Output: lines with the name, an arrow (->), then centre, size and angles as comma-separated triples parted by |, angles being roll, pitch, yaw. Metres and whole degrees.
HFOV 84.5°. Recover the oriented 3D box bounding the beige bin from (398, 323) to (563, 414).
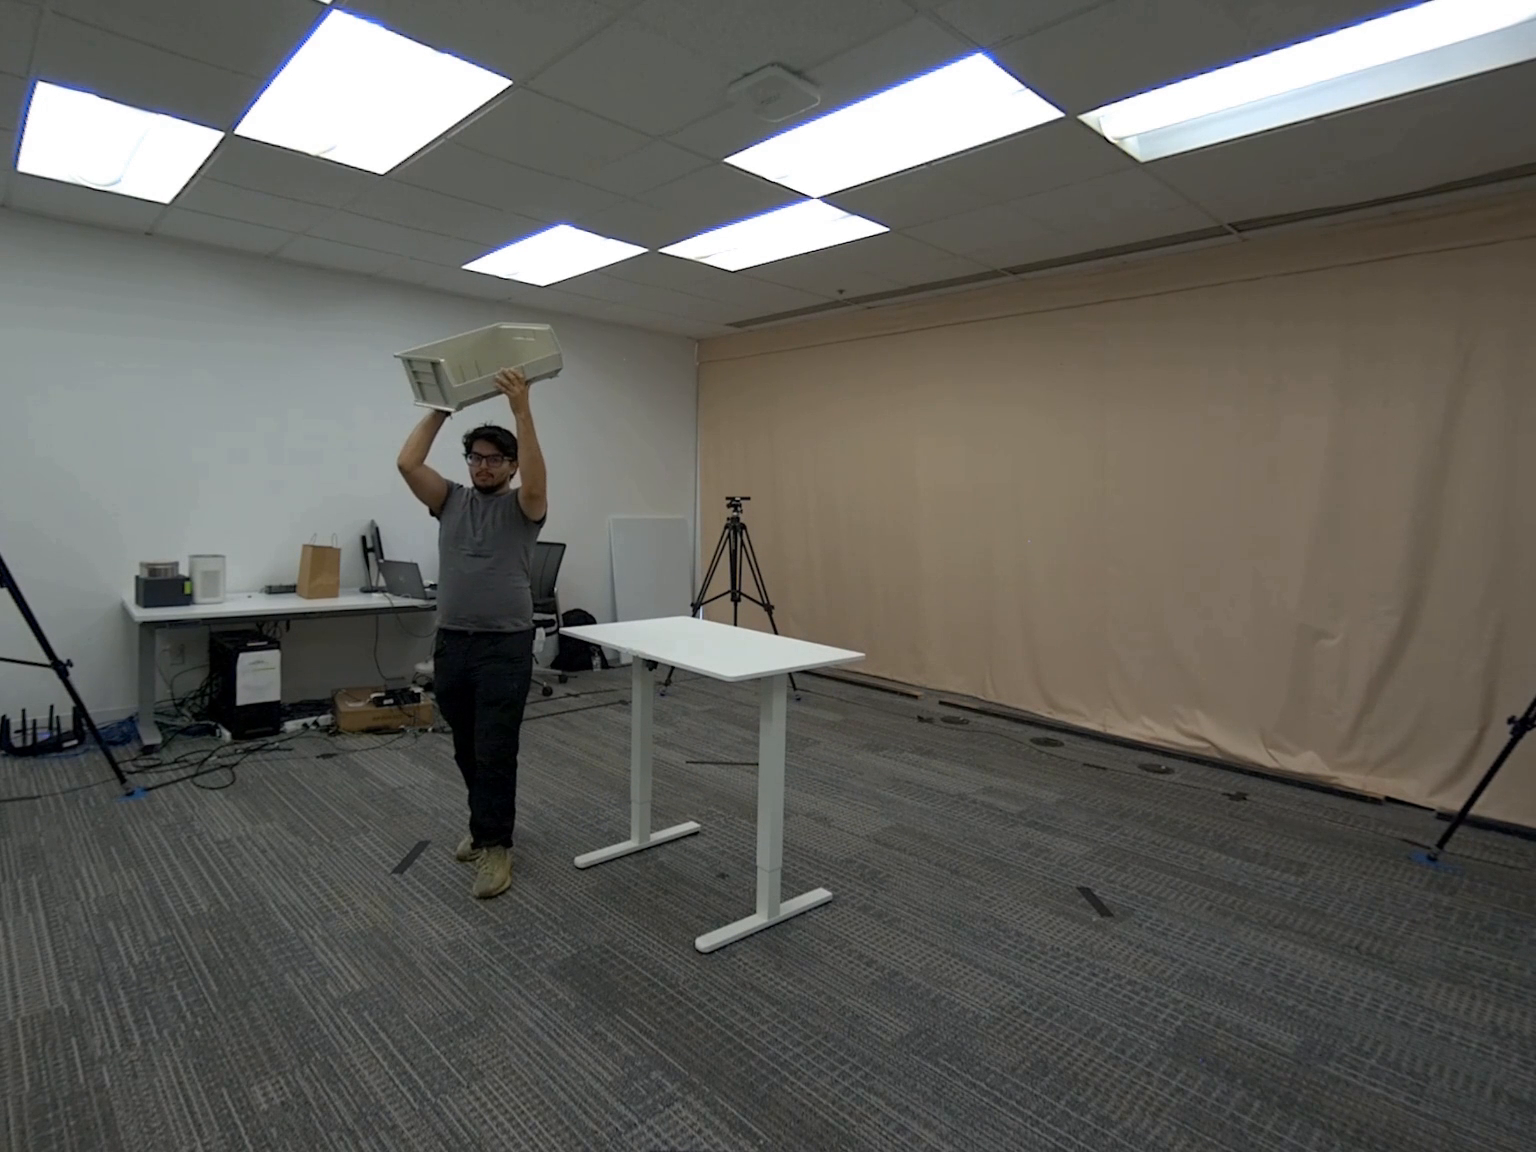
beige bin -> -0.989, -0.725, 2.886 | 0.388, 0.185, 0.419 | 16, 37, 43
